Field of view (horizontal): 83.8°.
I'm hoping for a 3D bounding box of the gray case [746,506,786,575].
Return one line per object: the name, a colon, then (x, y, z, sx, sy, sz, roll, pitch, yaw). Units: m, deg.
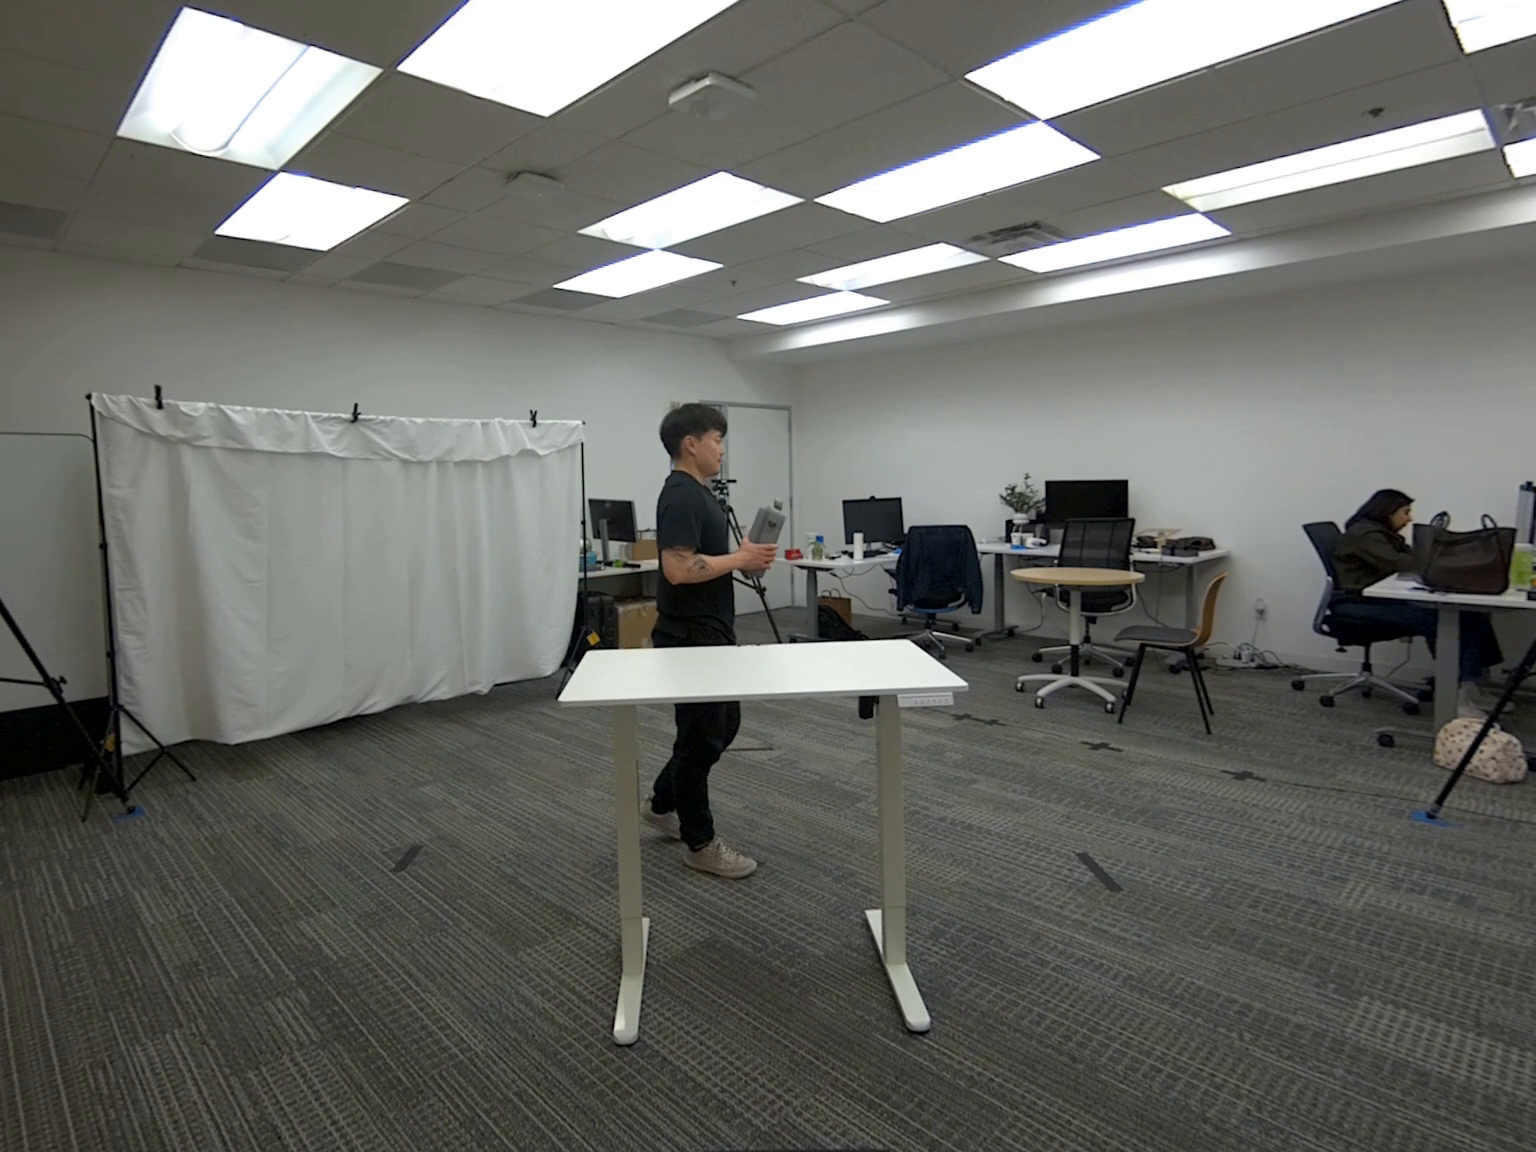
gray case: (-0.024, -0.125, 3.083, 0.104, 0.260, 0.257, 21, 2, -2)
